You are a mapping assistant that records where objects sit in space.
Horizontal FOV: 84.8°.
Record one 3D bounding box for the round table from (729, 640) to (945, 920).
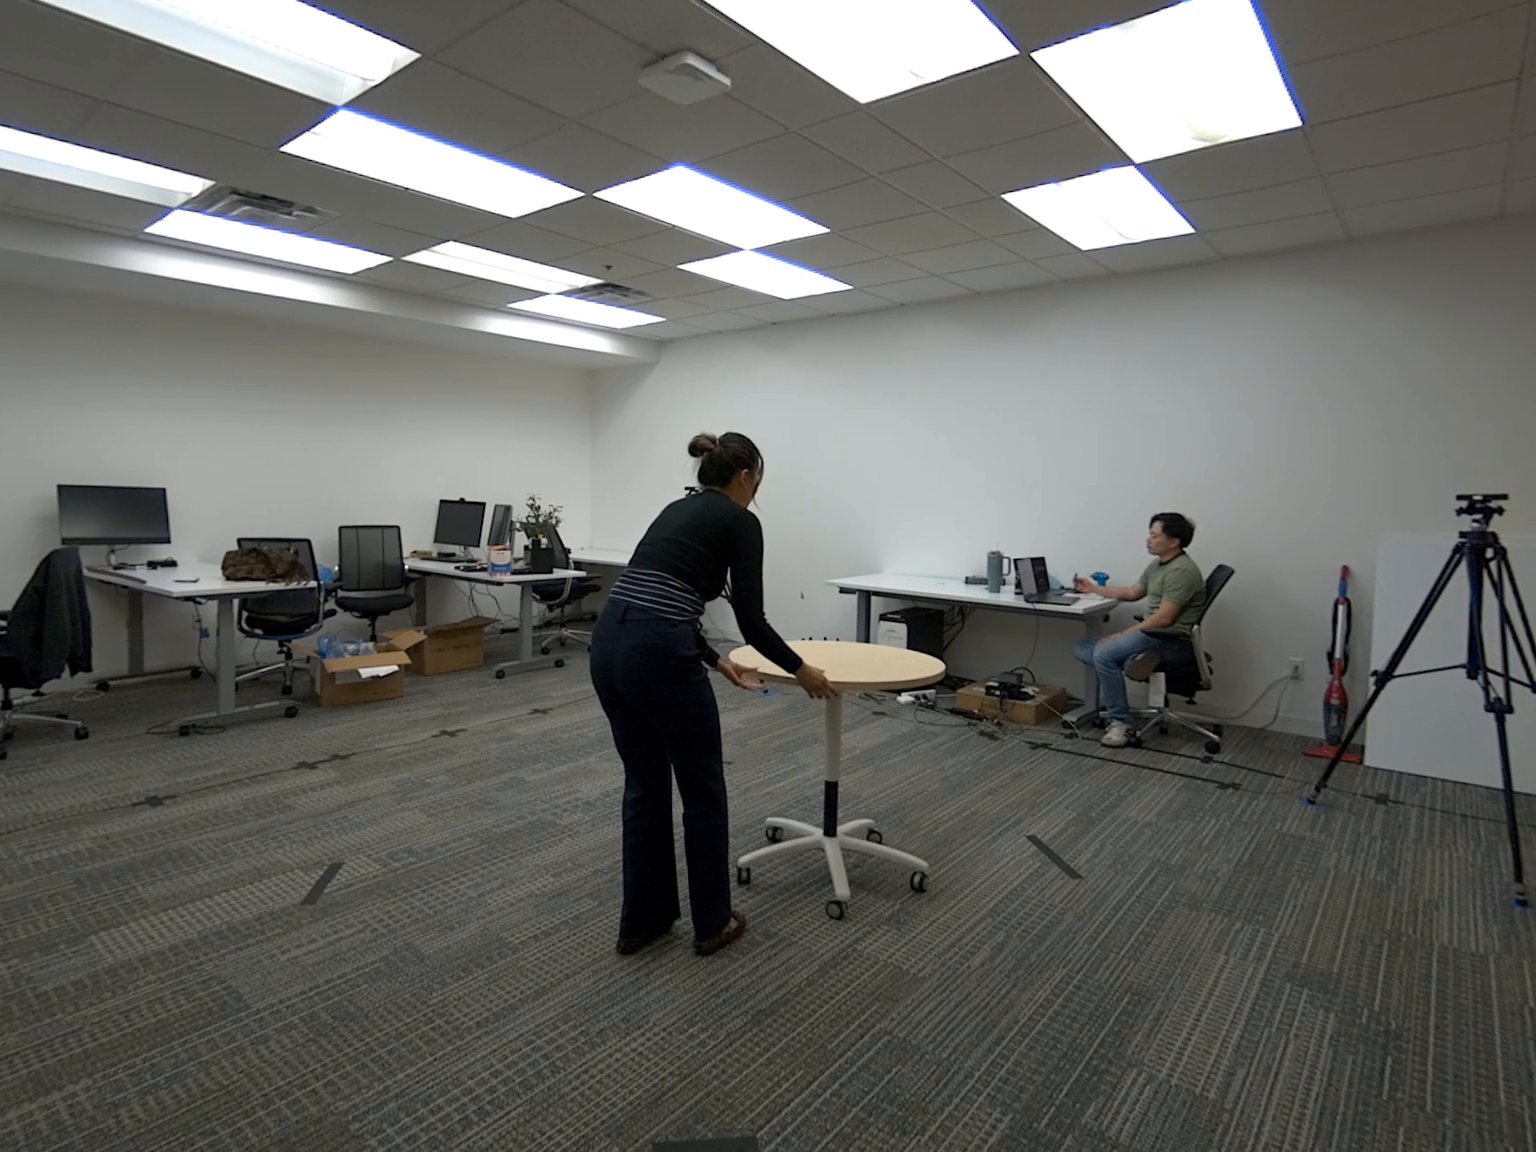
[{"bbox_3d":[0.224,0.686,3.078,0.763,0.791,0.768,1,4,-2],"label":"round table"}]
